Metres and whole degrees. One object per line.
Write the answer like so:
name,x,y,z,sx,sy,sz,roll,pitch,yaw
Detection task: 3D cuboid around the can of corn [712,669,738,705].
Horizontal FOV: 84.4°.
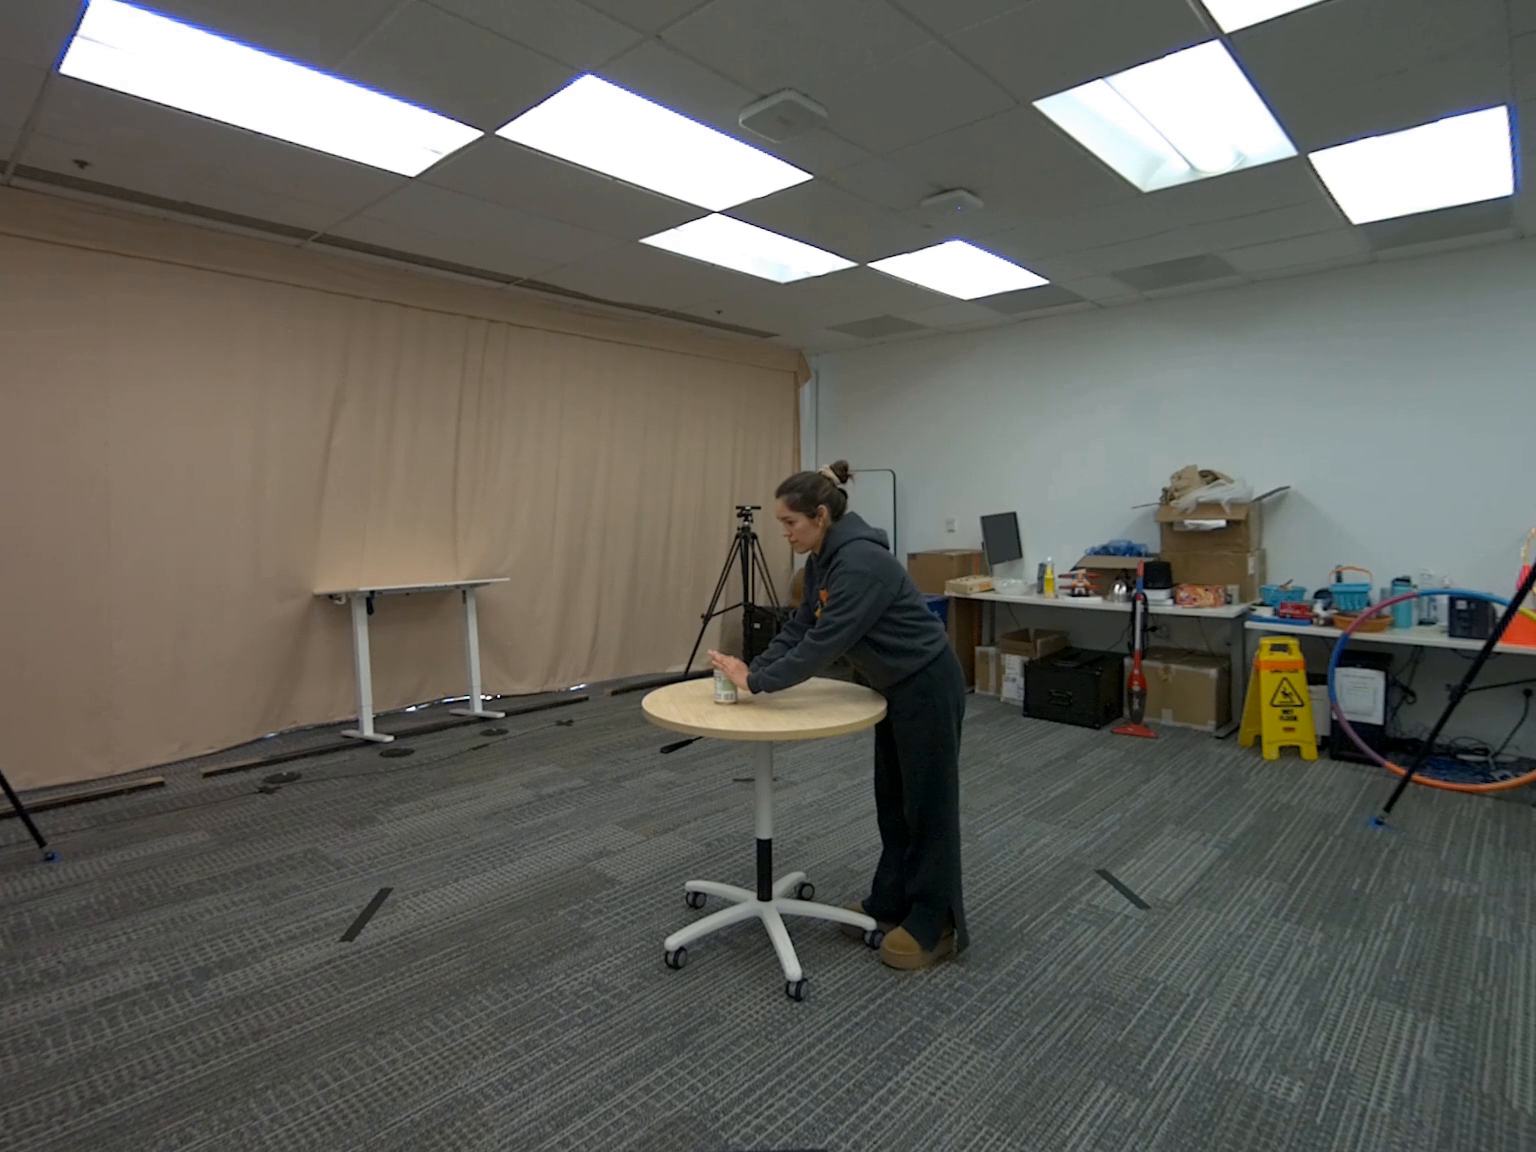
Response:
can of corn,-0.109,0.342,2.614,0.074,0.111,0.074,-1,5,-2
